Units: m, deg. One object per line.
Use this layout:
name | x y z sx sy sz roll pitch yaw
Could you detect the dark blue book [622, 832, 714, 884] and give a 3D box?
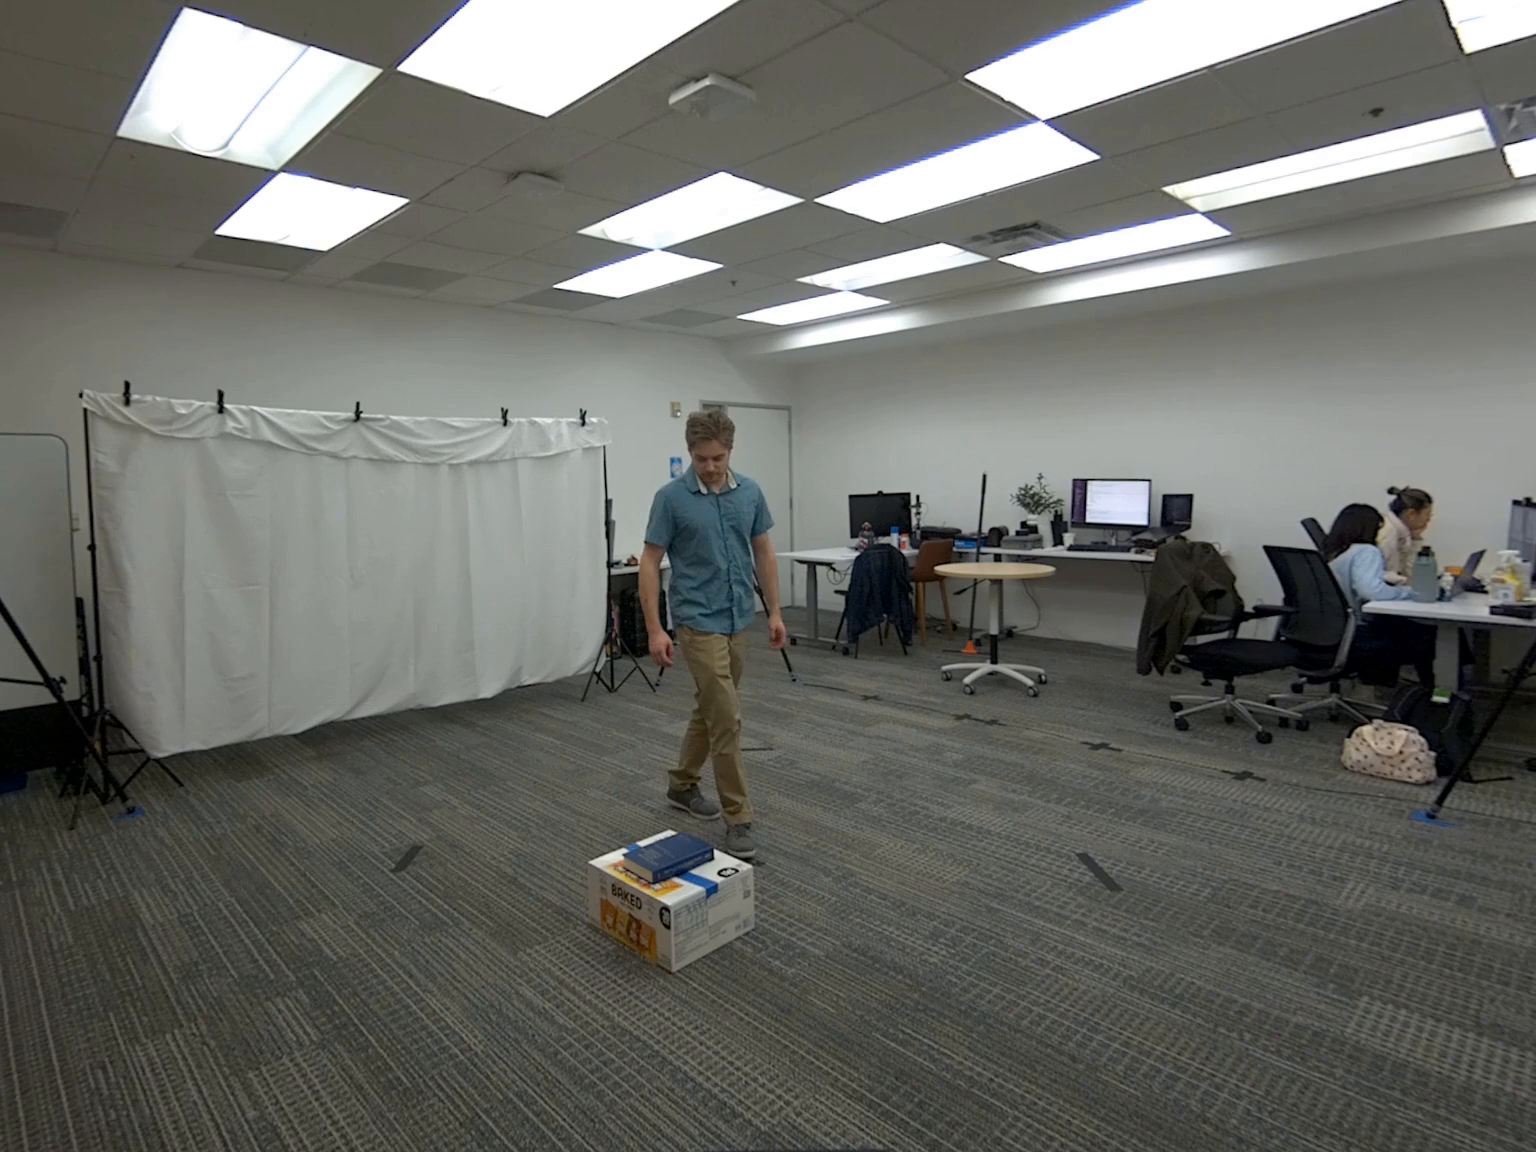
dark blue book | -0.320 0.890 2.681 0.239 0.045 0.168 -8 9 -43
